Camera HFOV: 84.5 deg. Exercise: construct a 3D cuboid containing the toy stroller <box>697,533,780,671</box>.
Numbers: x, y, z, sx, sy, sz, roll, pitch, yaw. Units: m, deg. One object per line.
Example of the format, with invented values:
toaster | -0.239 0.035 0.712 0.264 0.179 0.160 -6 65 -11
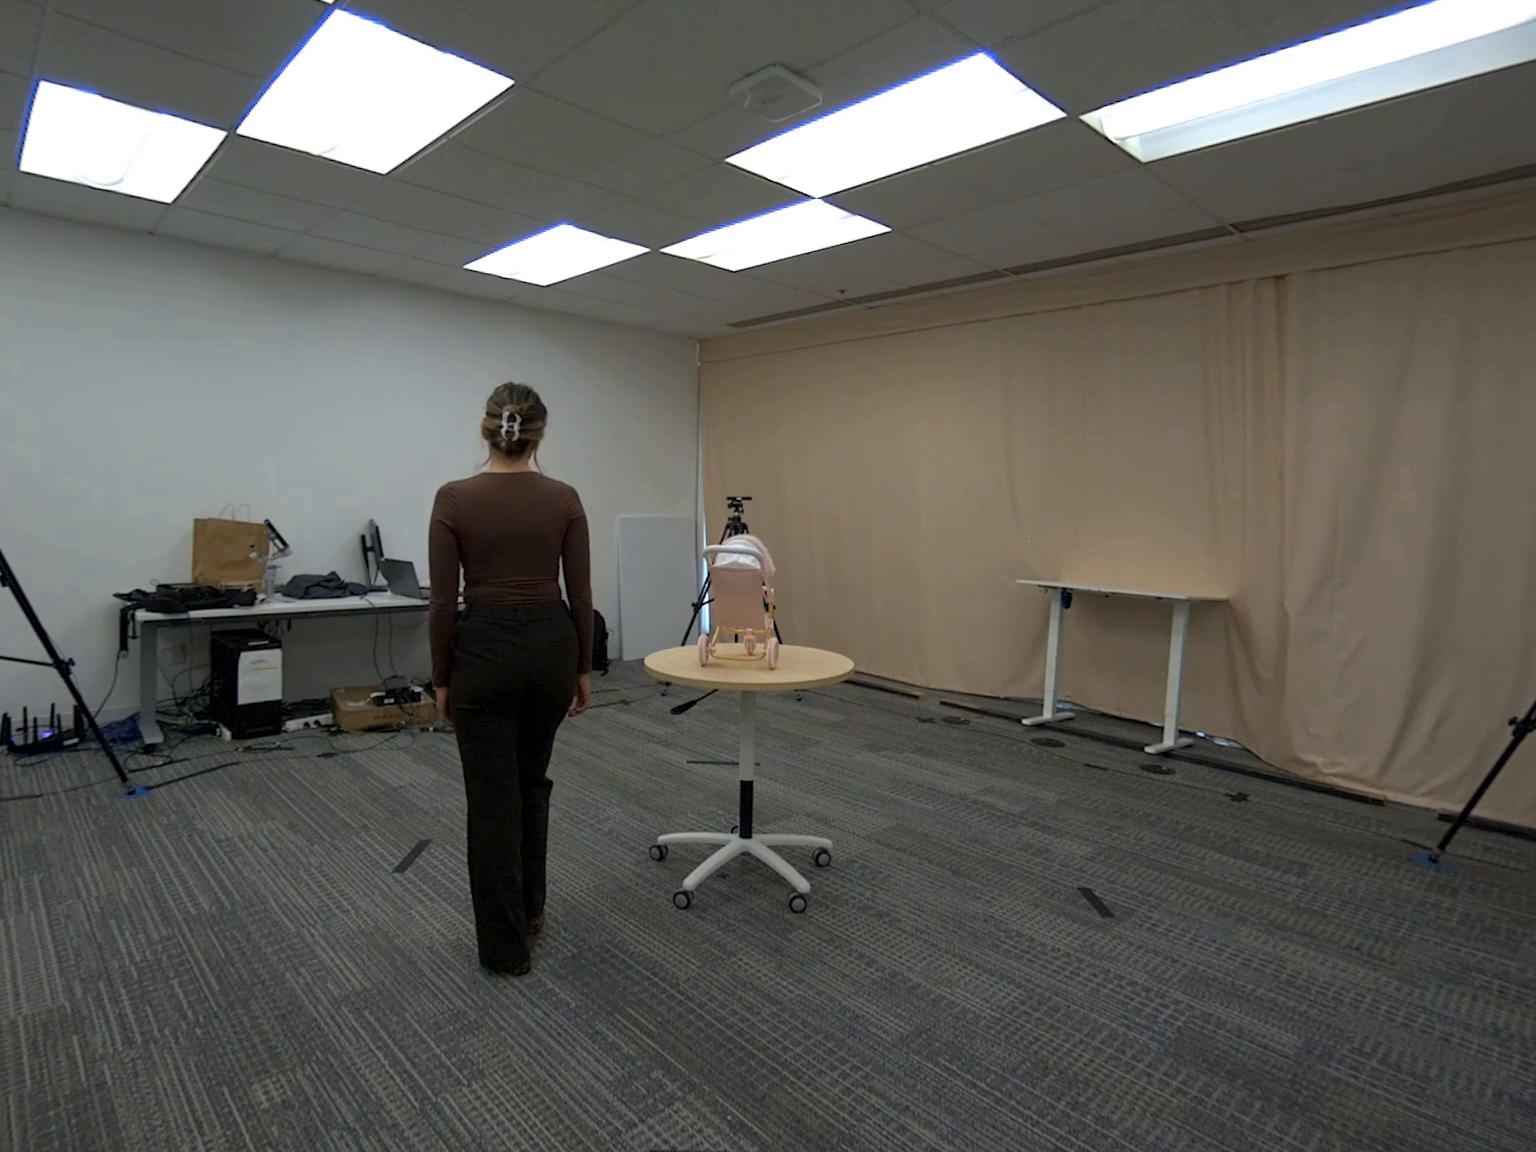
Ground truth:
toy stroller | -0.097 0.093 3.015 0.285 0.528 0.342 3 19 13
